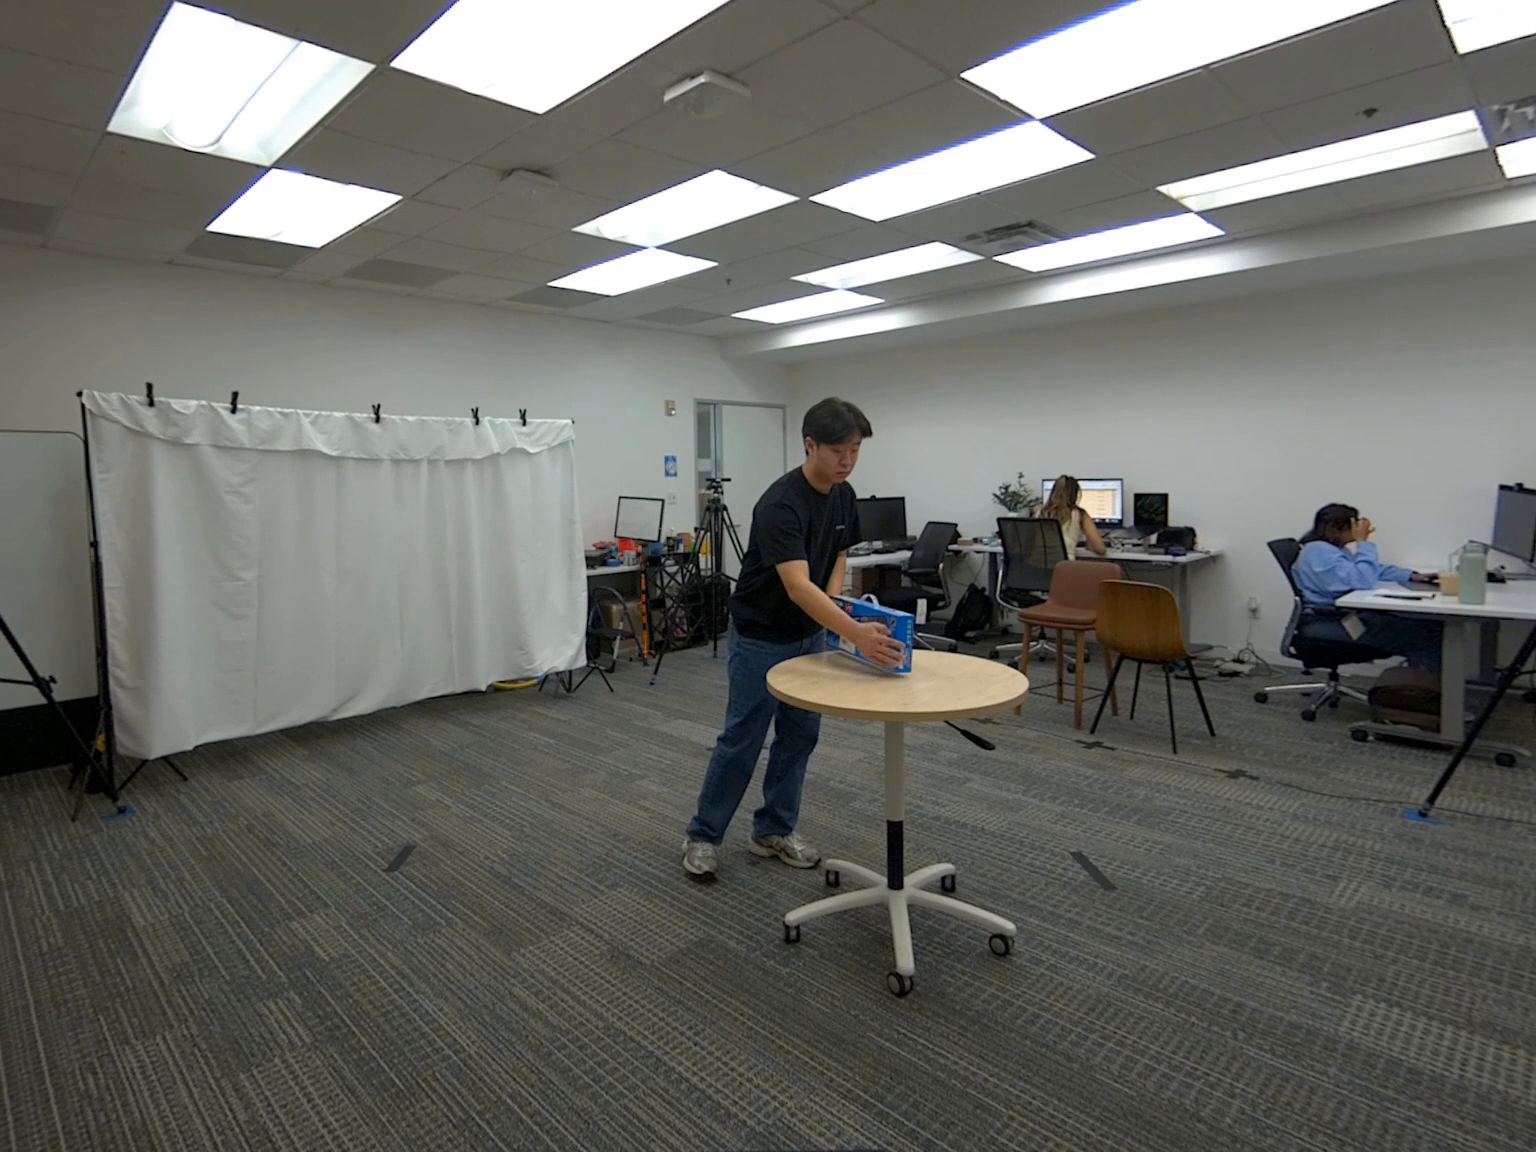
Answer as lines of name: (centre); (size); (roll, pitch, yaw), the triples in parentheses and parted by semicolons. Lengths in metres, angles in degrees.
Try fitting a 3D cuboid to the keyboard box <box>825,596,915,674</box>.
keyboard box: (0.314, 0.185, 2.732); (0.058, 0.175, 0.447); (1, 6, -22)
